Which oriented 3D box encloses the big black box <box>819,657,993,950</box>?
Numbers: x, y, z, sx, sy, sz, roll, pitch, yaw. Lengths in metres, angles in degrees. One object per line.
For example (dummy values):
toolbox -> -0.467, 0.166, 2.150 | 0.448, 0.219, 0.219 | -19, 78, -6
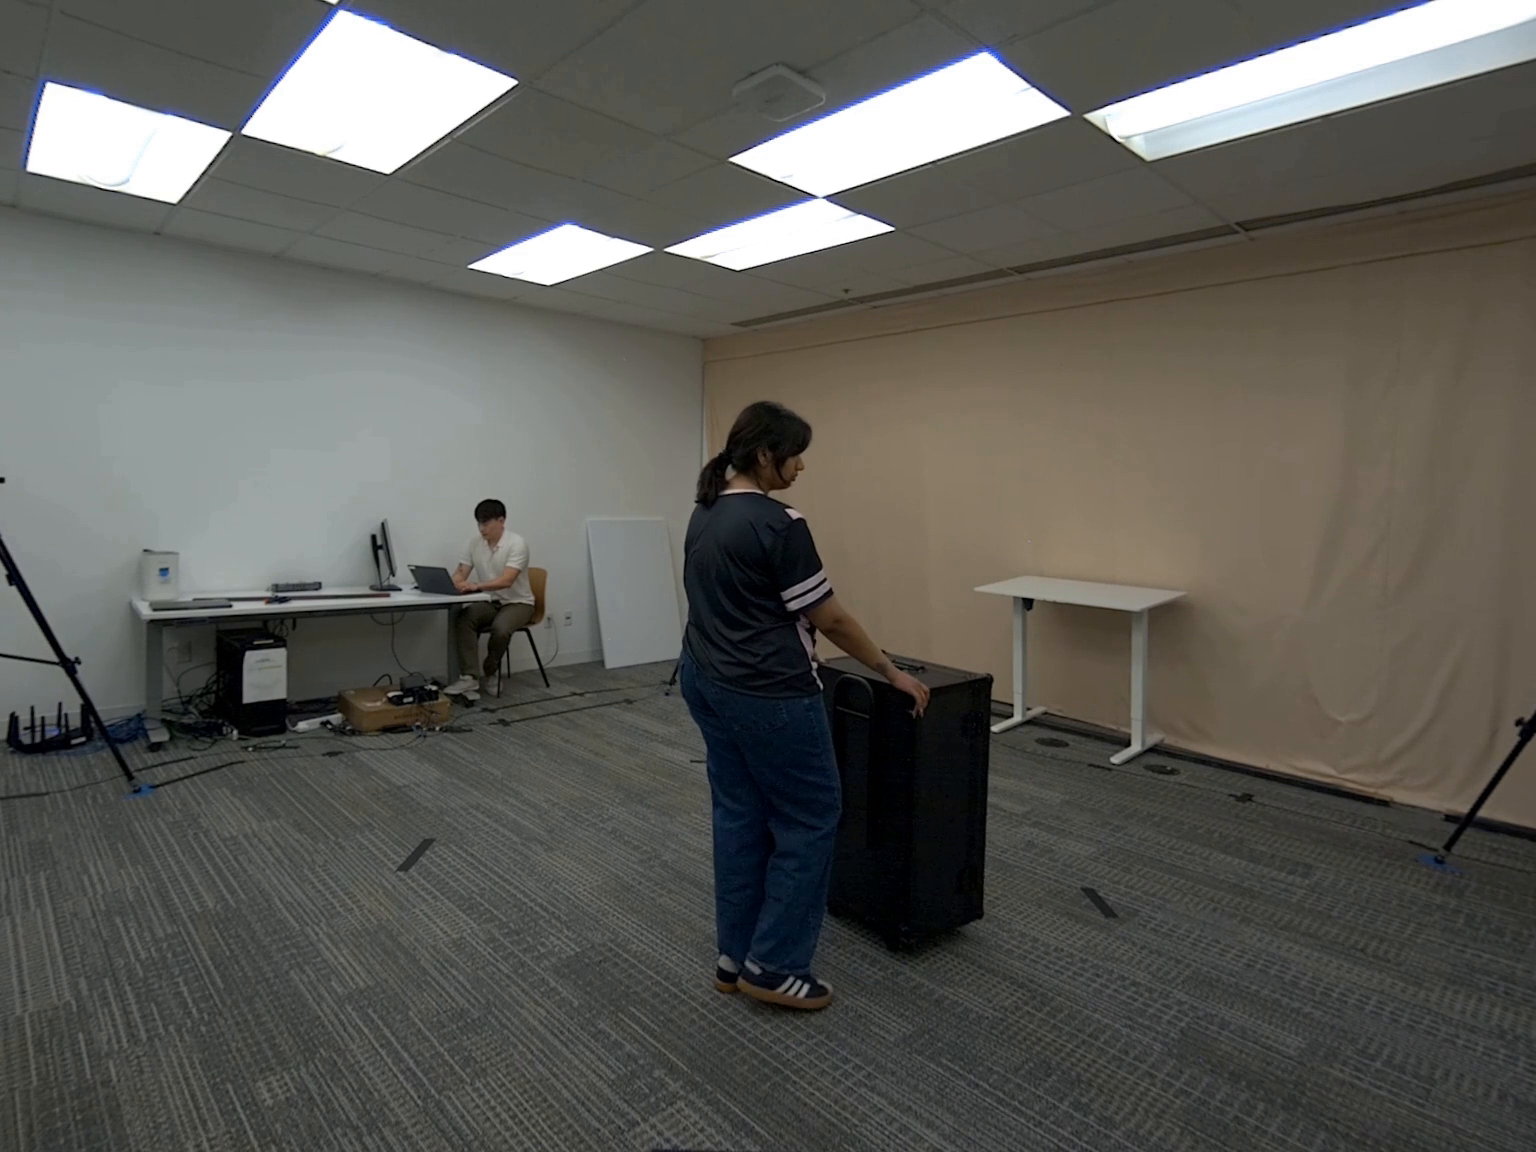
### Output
big black box -> 0.412, 0.730, 2.750 | 0.377, 0.866, 0.536 | -3, 6, -38
